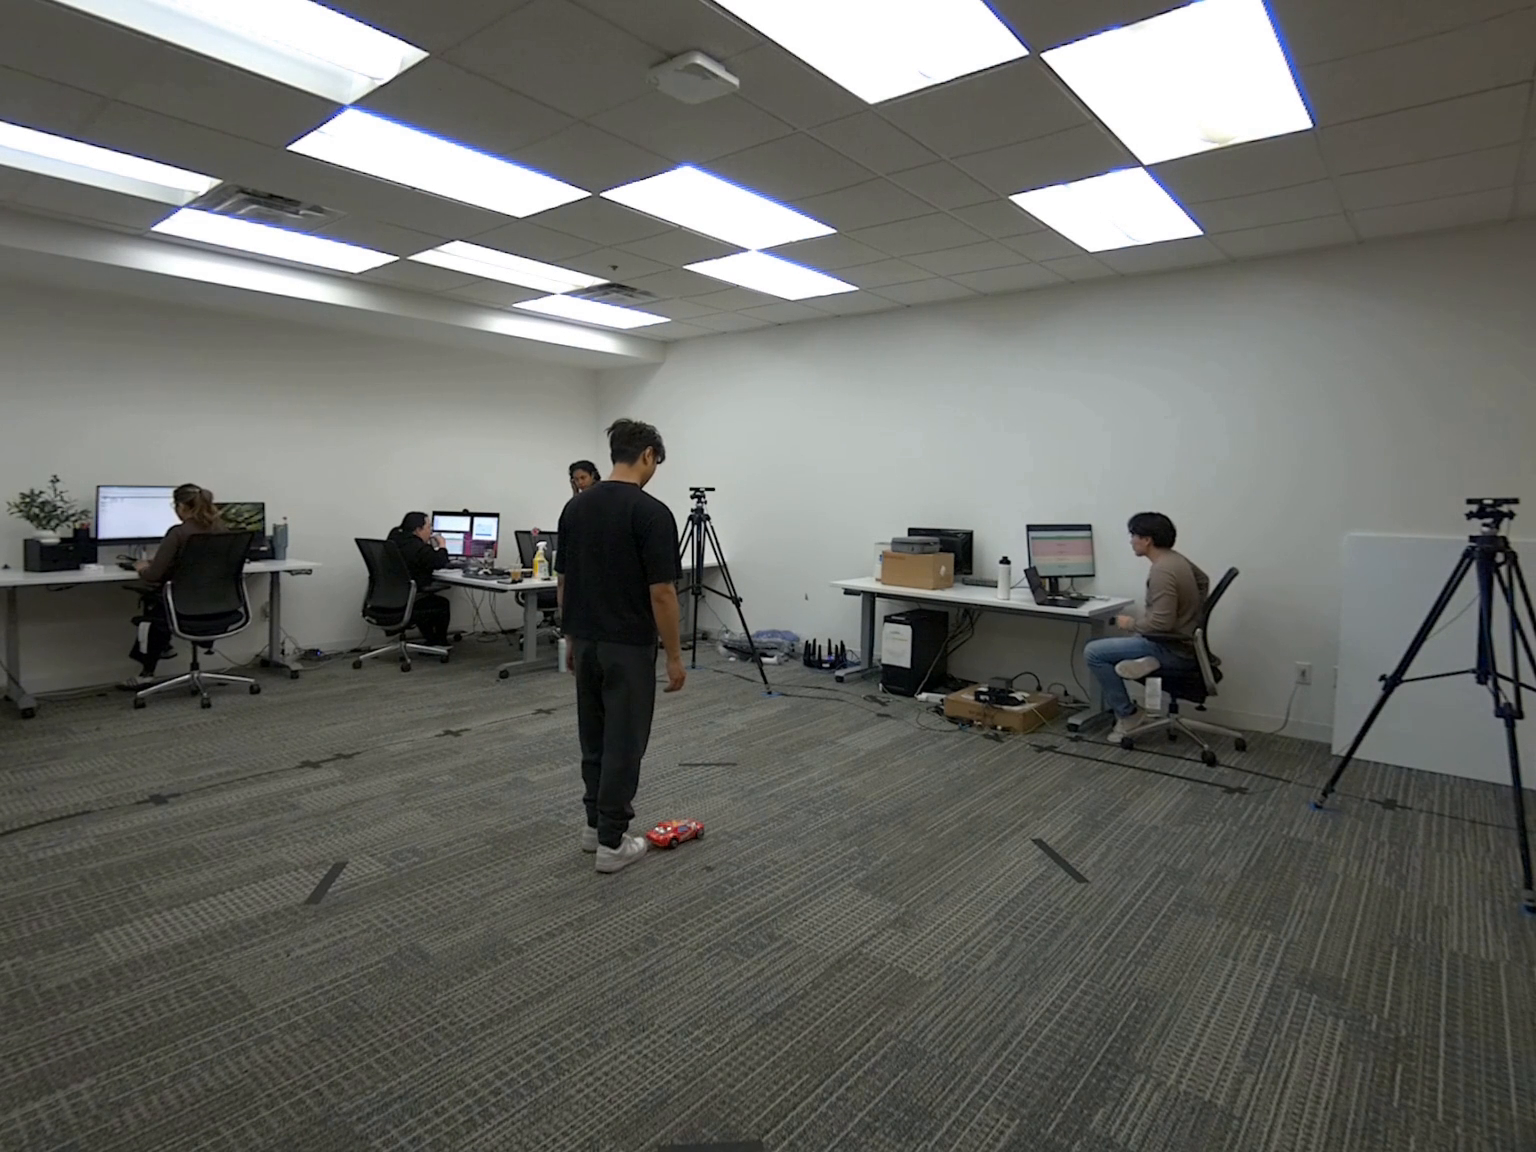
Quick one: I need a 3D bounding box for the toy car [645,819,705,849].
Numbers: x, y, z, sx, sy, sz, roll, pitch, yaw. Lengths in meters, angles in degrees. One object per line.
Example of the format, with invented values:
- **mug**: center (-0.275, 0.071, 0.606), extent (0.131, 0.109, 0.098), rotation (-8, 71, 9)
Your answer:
- **toy car**: center (-0.381, 1.011, 3.342), extent (0.135, 0.083, 0.245), rotation (7, -3, 44)
